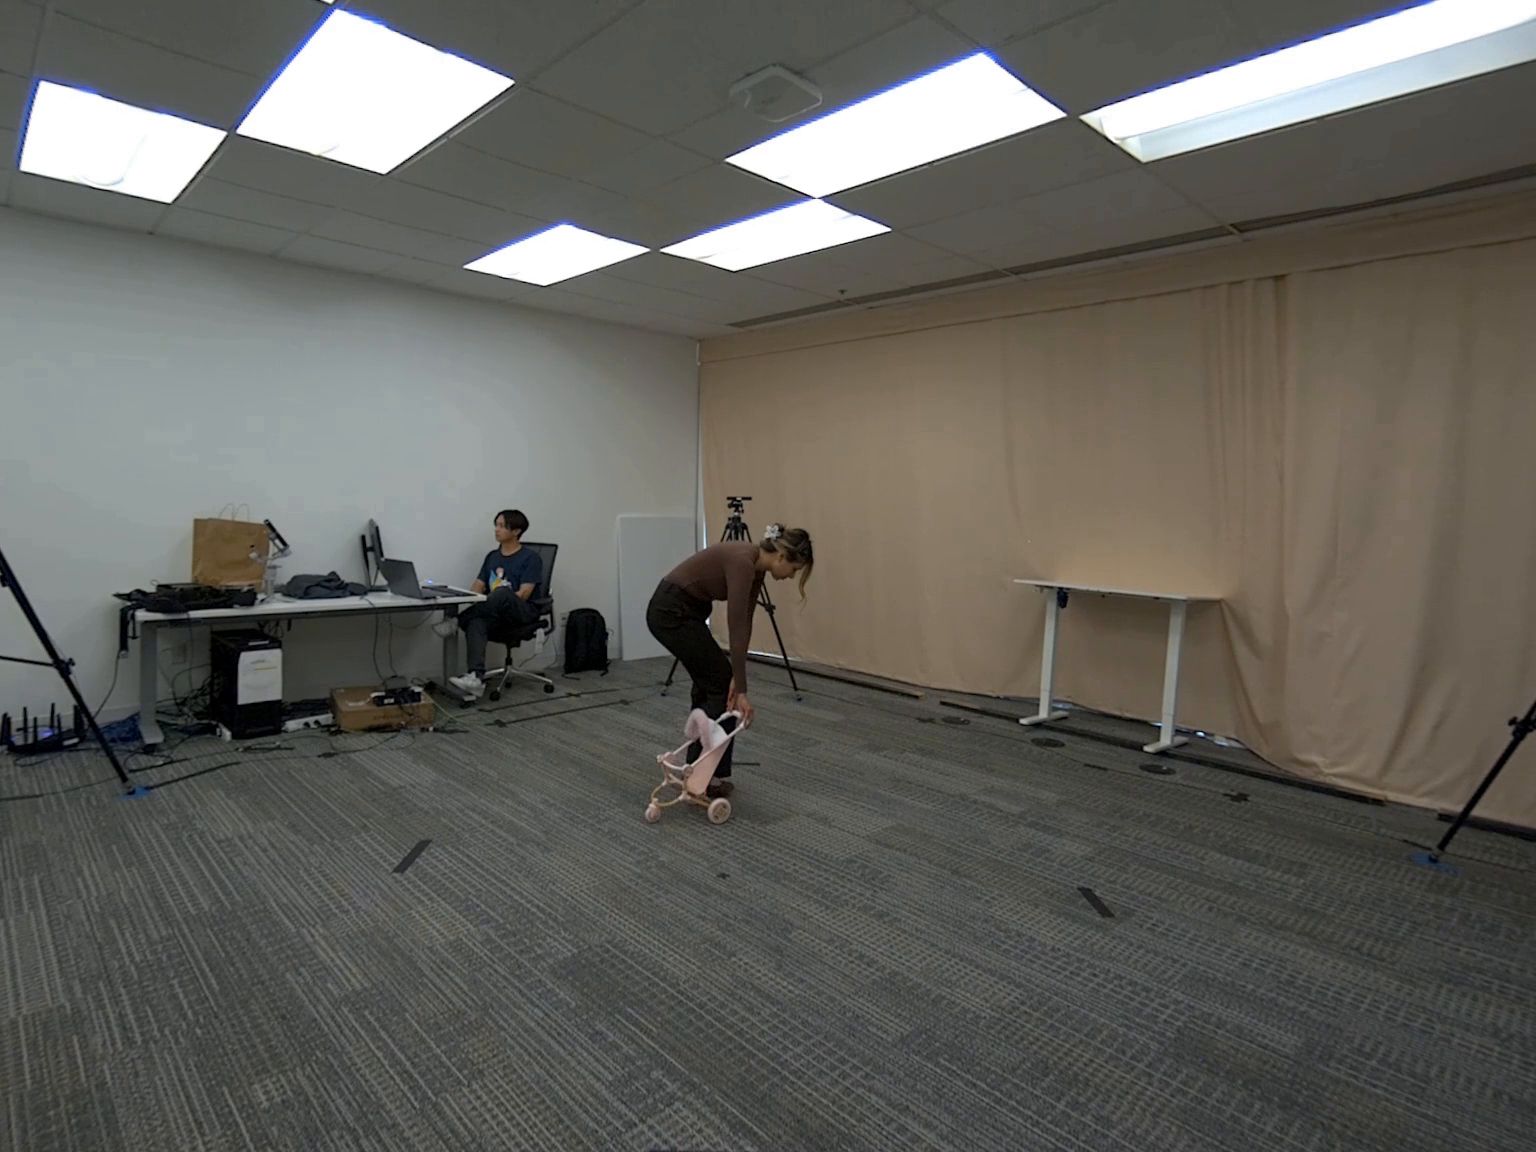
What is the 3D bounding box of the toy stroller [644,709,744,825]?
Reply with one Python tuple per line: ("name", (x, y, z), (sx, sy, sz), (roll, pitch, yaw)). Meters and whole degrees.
("toy stroller", (-0.342, 0.827, 3.676), (0.334, 0.536, 0.287), (17, -4, -24))
